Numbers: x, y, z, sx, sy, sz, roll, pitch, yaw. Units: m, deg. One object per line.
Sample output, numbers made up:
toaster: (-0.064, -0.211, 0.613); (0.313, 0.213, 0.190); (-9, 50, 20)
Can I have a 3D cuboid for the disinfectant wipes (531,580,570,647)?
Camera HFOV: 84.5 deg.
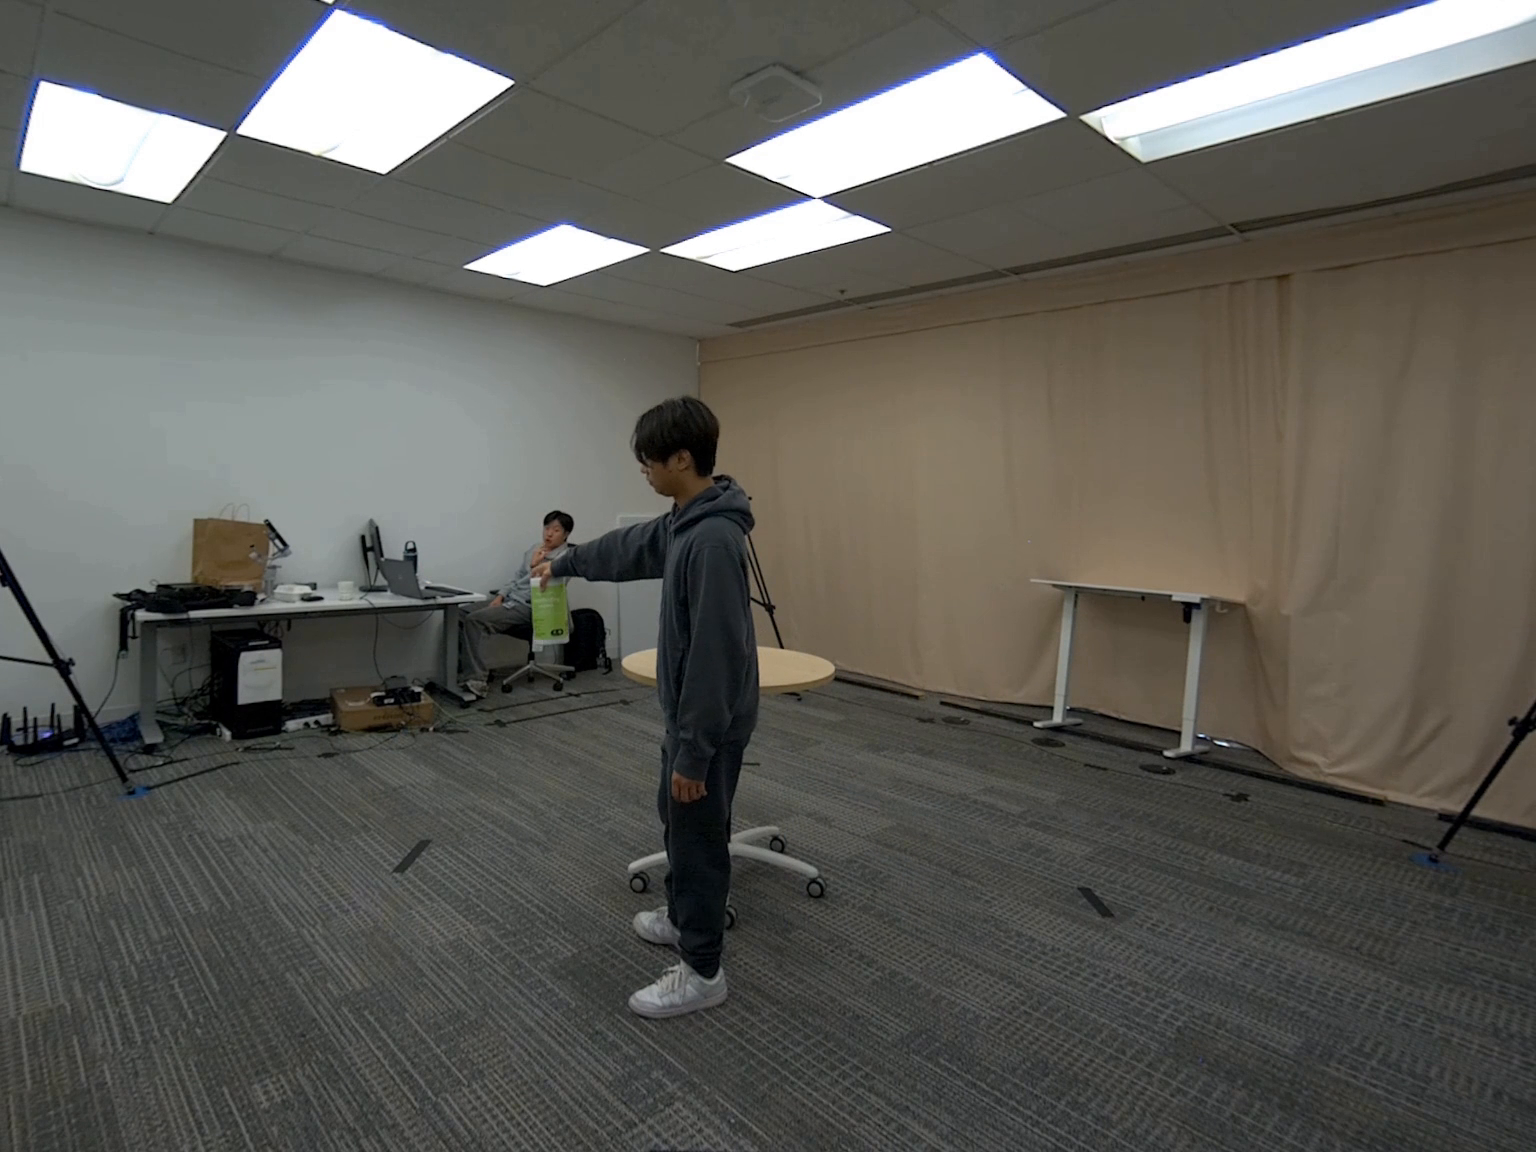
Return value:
disinfectant wipes: (-0.708, 0.112, 2.690); (0.118, 0.217, 0.118); (-5, 0, -1)
